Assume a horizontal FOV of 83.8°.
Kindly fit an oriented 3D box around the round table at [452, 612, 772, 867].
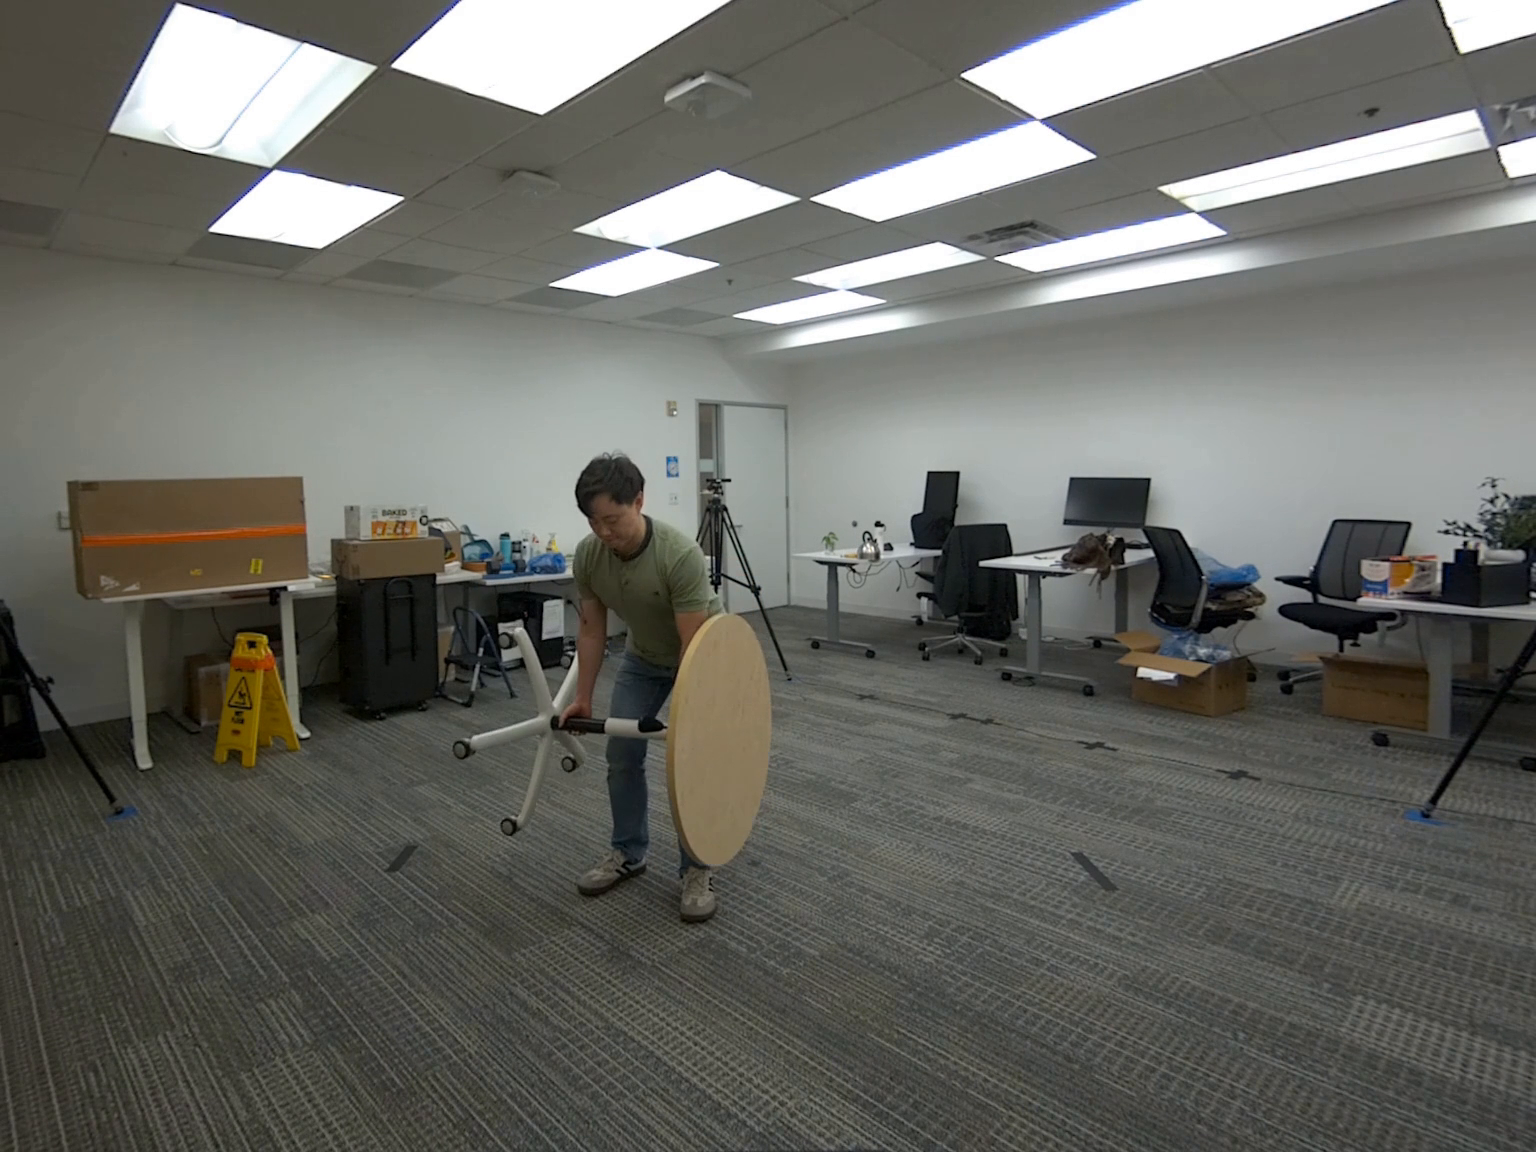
[{"bbox_3d":[-0.494,0.516,2.832,0.810,0.762,0.751,-1,4,22],"label":"round table"}]
